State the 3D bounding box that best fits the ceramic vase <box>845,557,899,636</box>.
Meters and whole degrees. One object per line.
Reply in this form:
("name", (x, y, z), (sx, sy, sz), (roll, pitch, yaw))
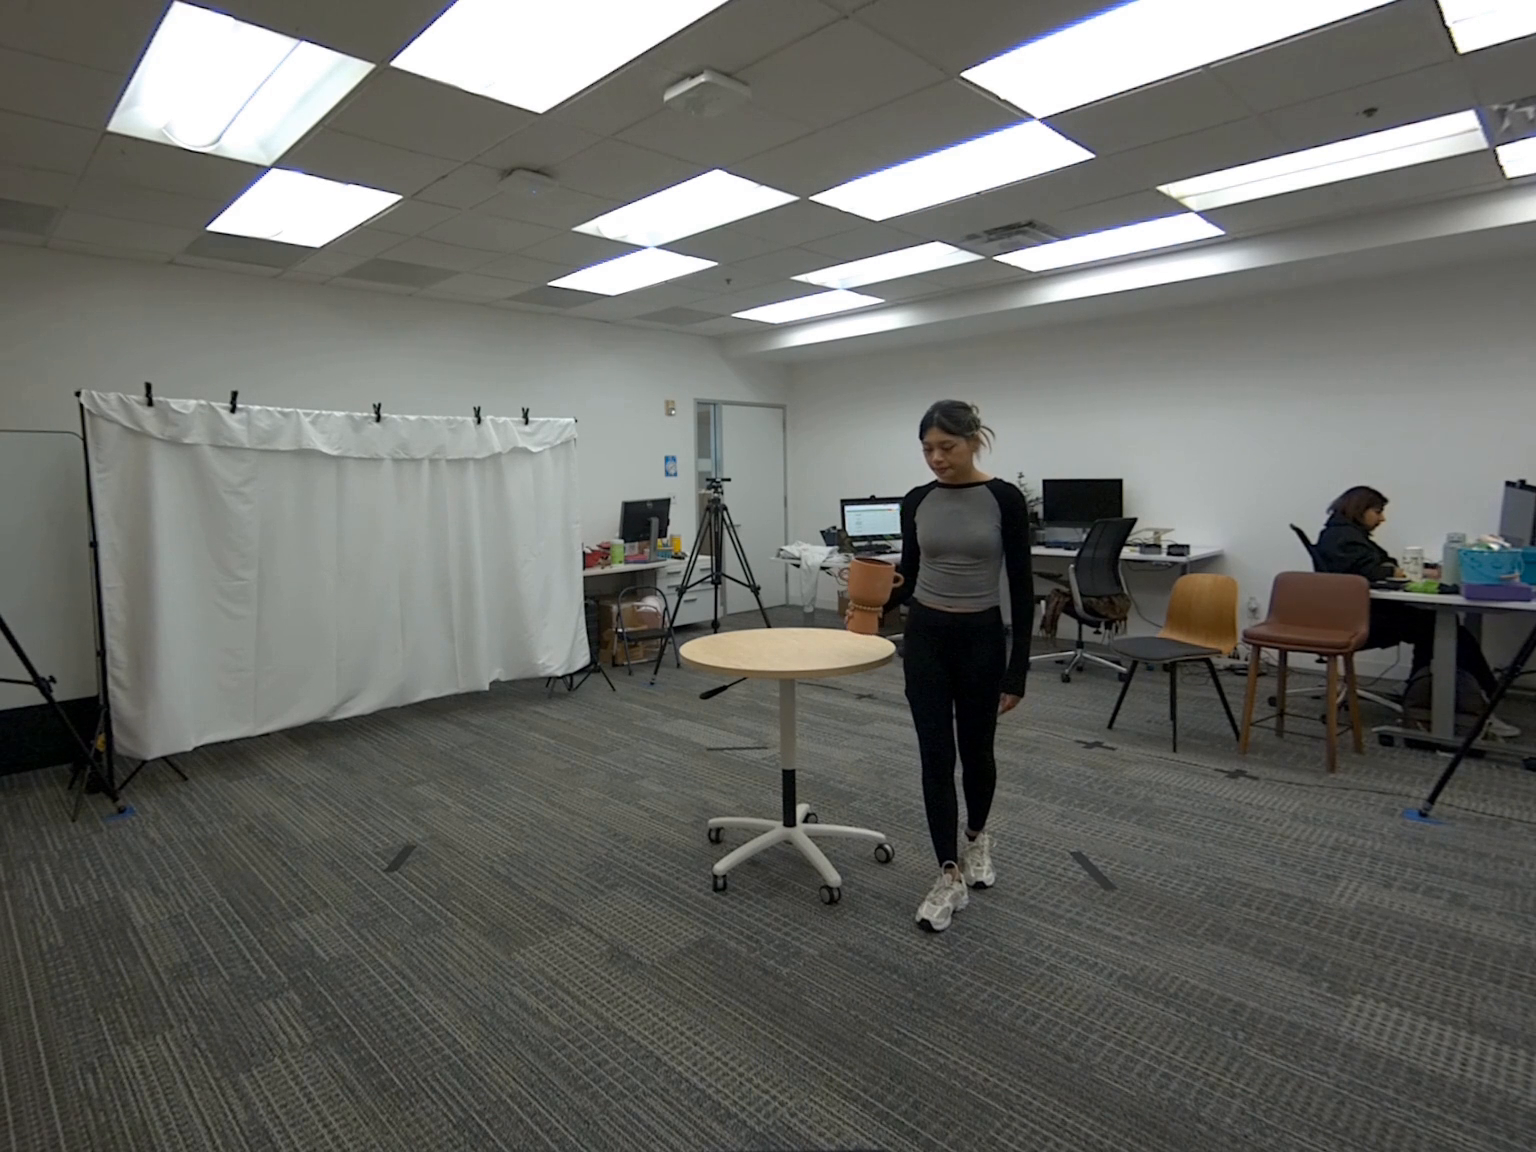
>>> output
("ceramic vase", (0.315, 0.060, 2.609), (0.164, 0.218, 0.131), (13, 12, 40))
